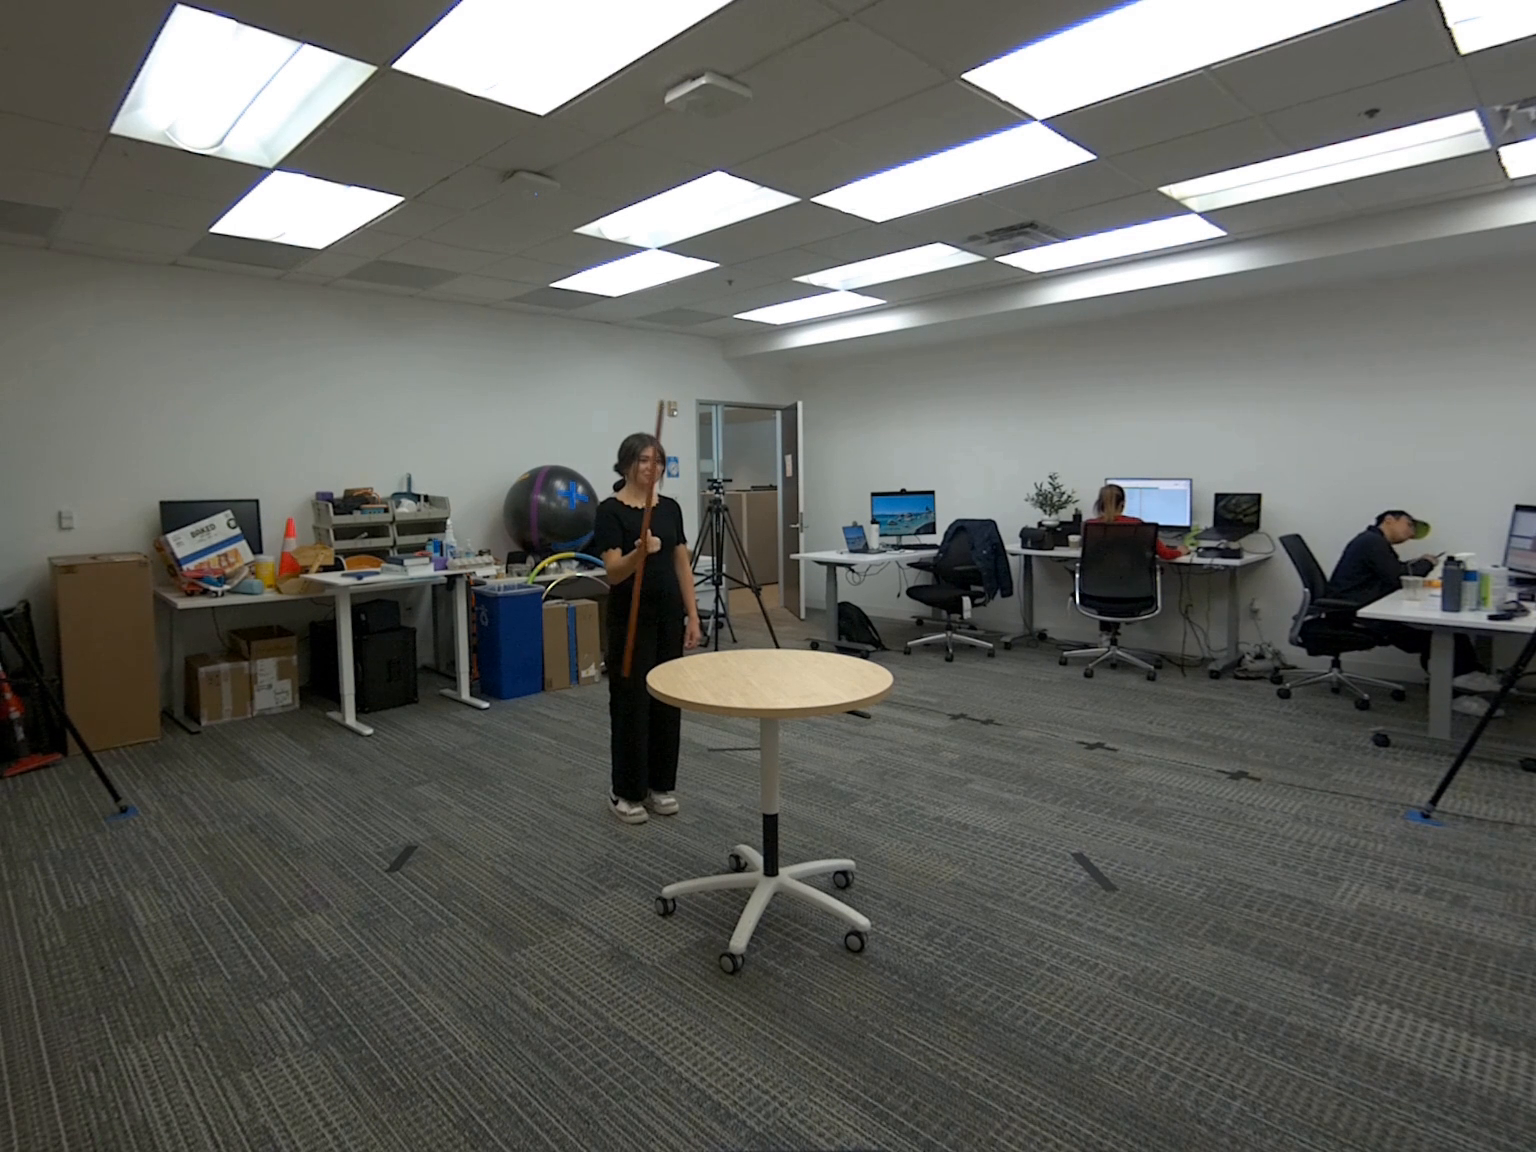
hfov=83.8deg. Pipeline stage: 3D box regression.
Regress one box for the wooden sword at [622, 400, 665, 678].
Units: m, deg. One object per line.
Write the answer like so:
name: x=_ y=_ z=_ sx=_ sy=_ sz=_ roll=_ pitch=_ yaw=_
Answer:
wooden sword: x=-0.466 y=-0.140 z=3.167 sx=0.050 sy=1.027 sz=0.025 roll=10 pitch=-4 yaw=-38
